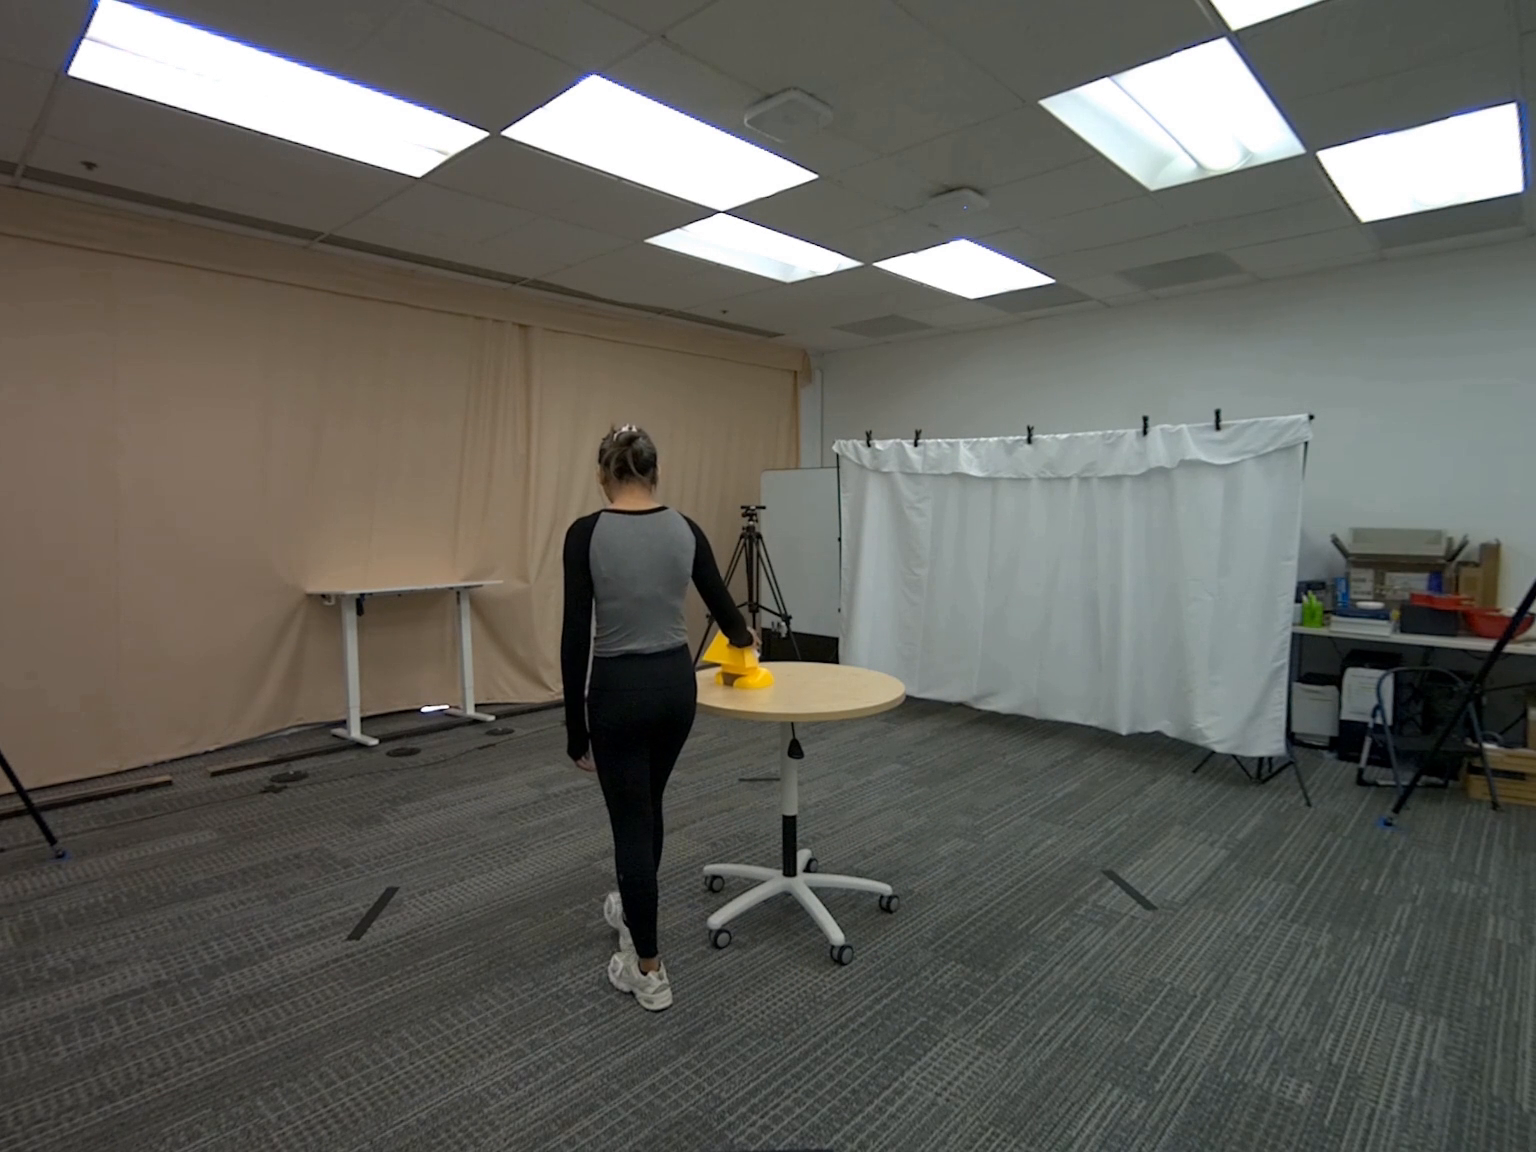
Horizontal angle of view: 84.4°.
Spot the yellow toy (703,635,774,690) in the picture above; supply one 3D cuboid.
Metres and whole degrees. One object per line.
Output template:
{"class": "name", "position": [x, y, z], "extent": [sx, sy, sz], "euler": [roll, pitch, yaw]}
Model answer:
{"class": "yellow toy", "position": [-0.087, 0.249, 2.849], "extent": [0.211, 0.230, 0.187], "euler": [3, 5, 42]}
